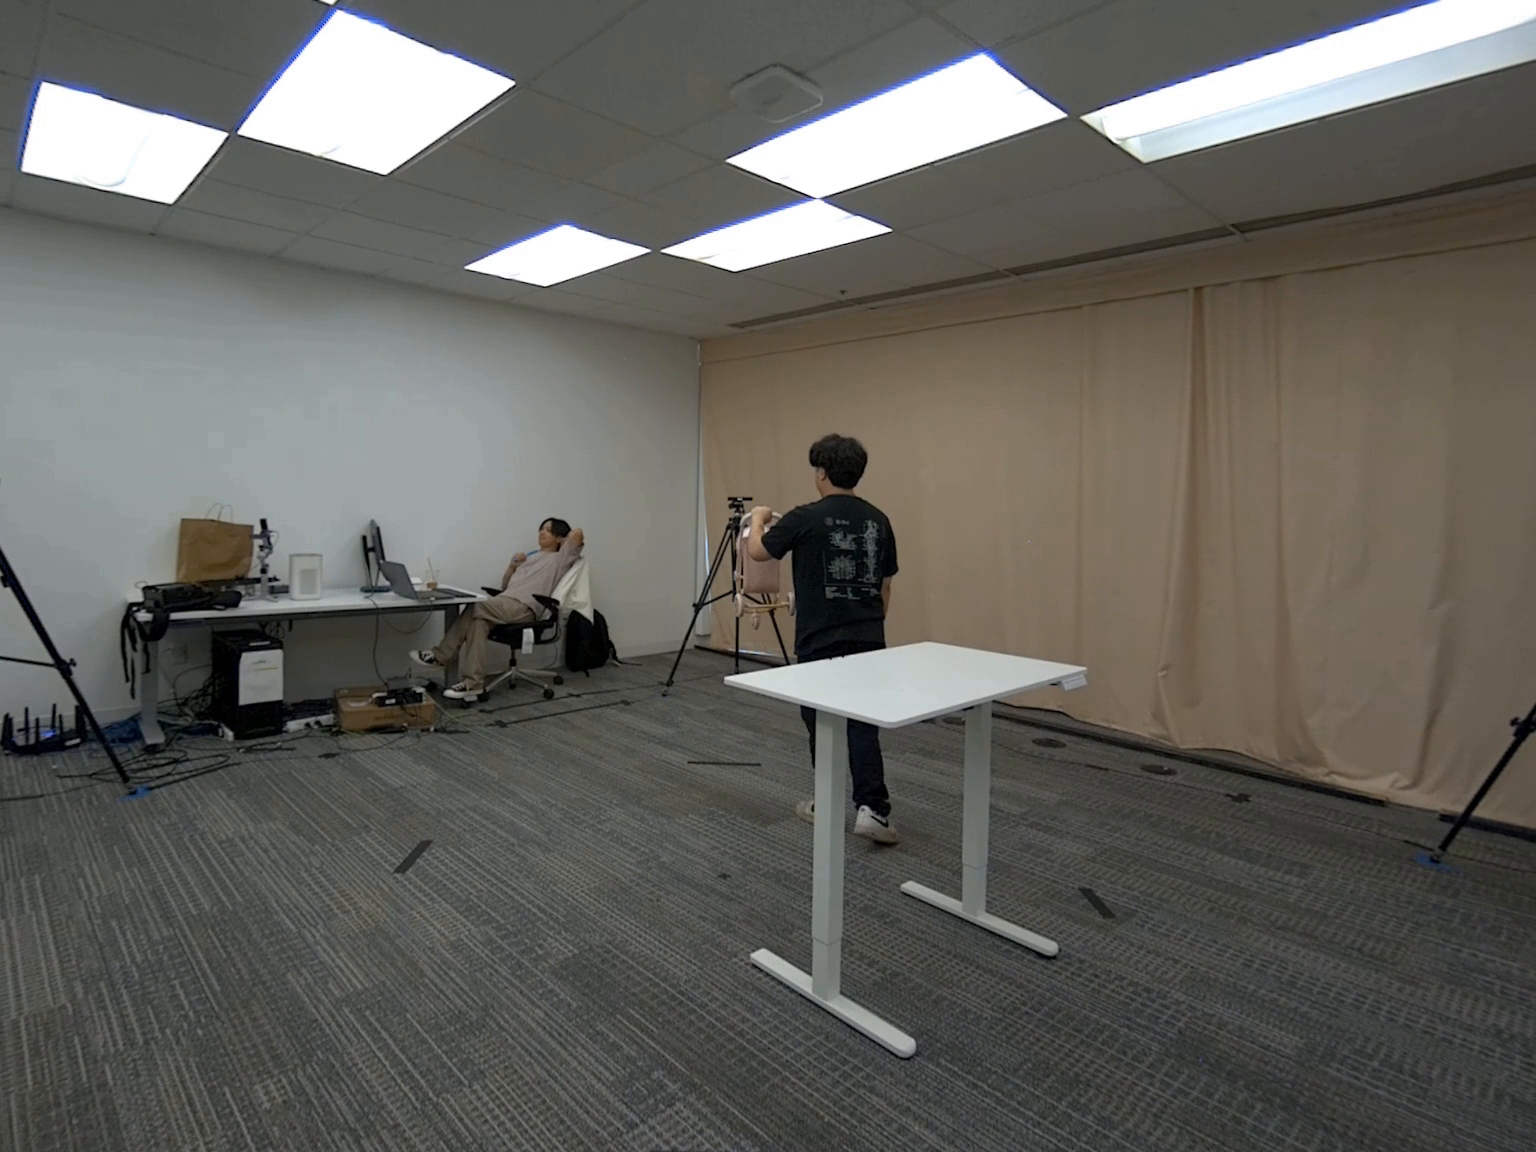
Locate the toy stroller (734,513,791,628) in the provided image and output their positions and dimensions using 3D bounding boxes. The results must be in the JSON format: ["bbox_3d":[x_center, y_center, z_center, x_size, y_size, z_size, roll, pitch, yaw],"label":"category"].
[{"bbox_3d":[-0.051,-0.011,4.030,0.280,0.537,0.342,-1,-5,-8],"label":"toy stroller"}]
